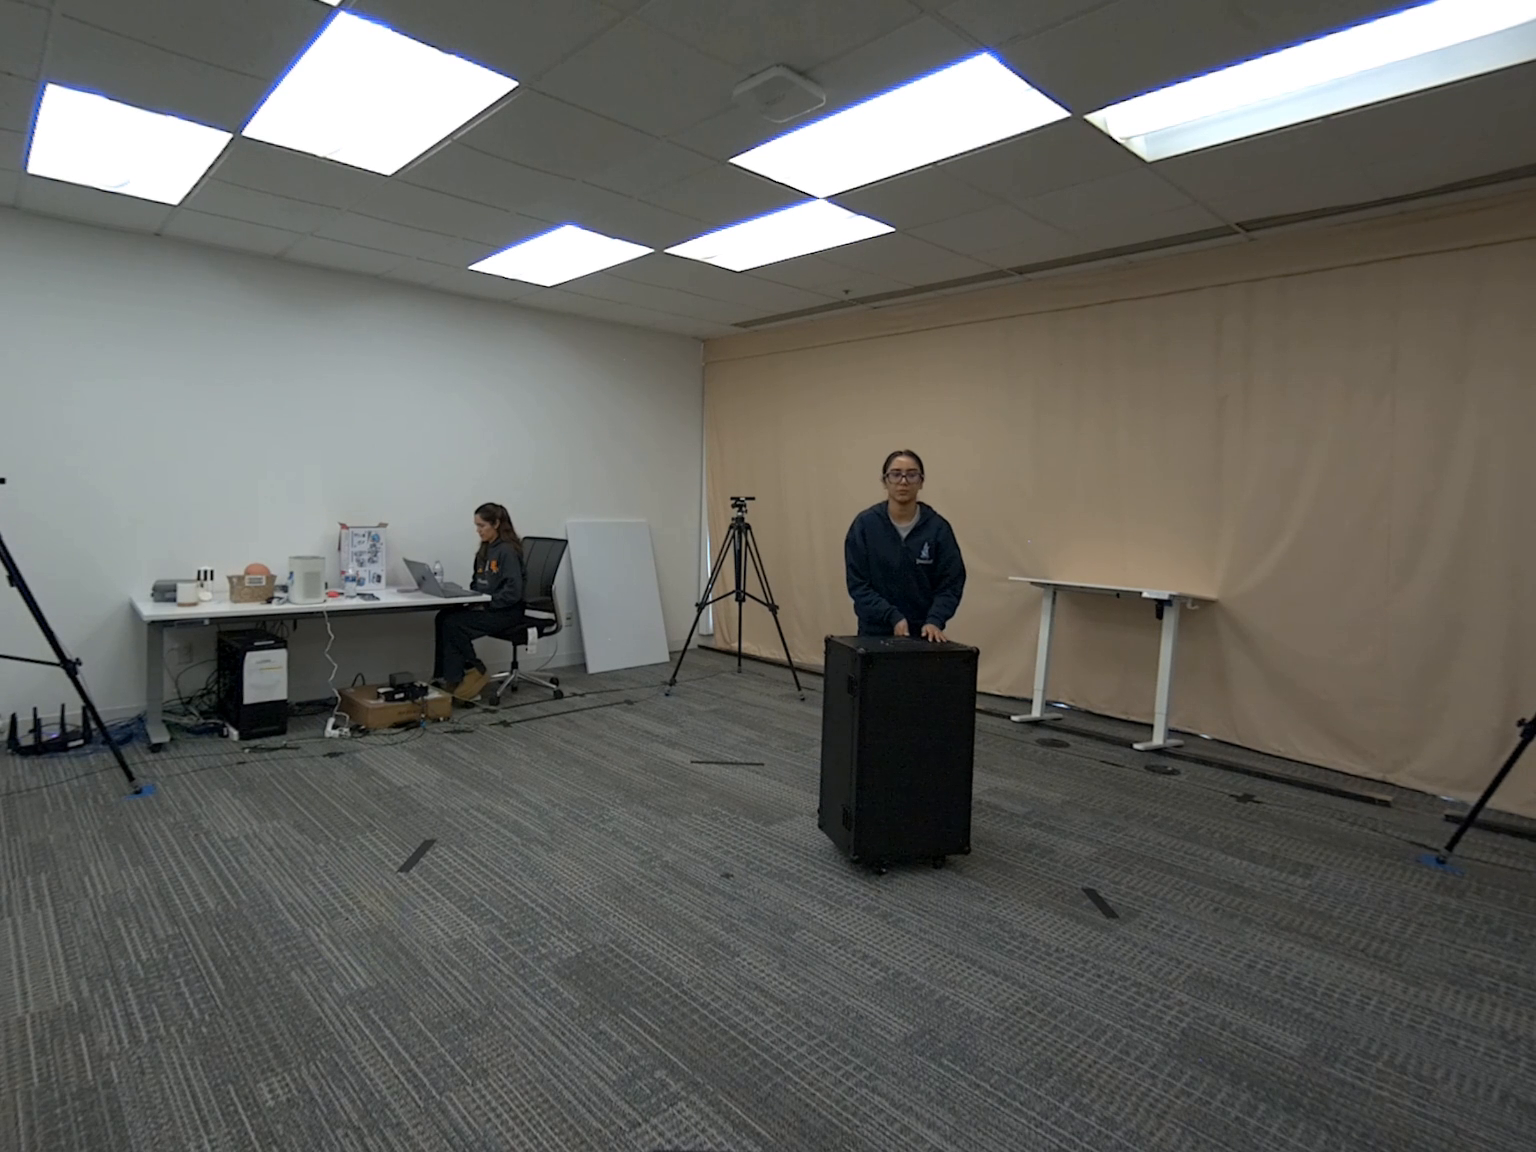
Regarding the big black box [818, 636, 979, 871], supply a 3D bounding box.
[{"bbox_3d":[0.477,0.679,3.289,0.514,0.860,0.402,1,2,-17],"label":"big black box"}]
